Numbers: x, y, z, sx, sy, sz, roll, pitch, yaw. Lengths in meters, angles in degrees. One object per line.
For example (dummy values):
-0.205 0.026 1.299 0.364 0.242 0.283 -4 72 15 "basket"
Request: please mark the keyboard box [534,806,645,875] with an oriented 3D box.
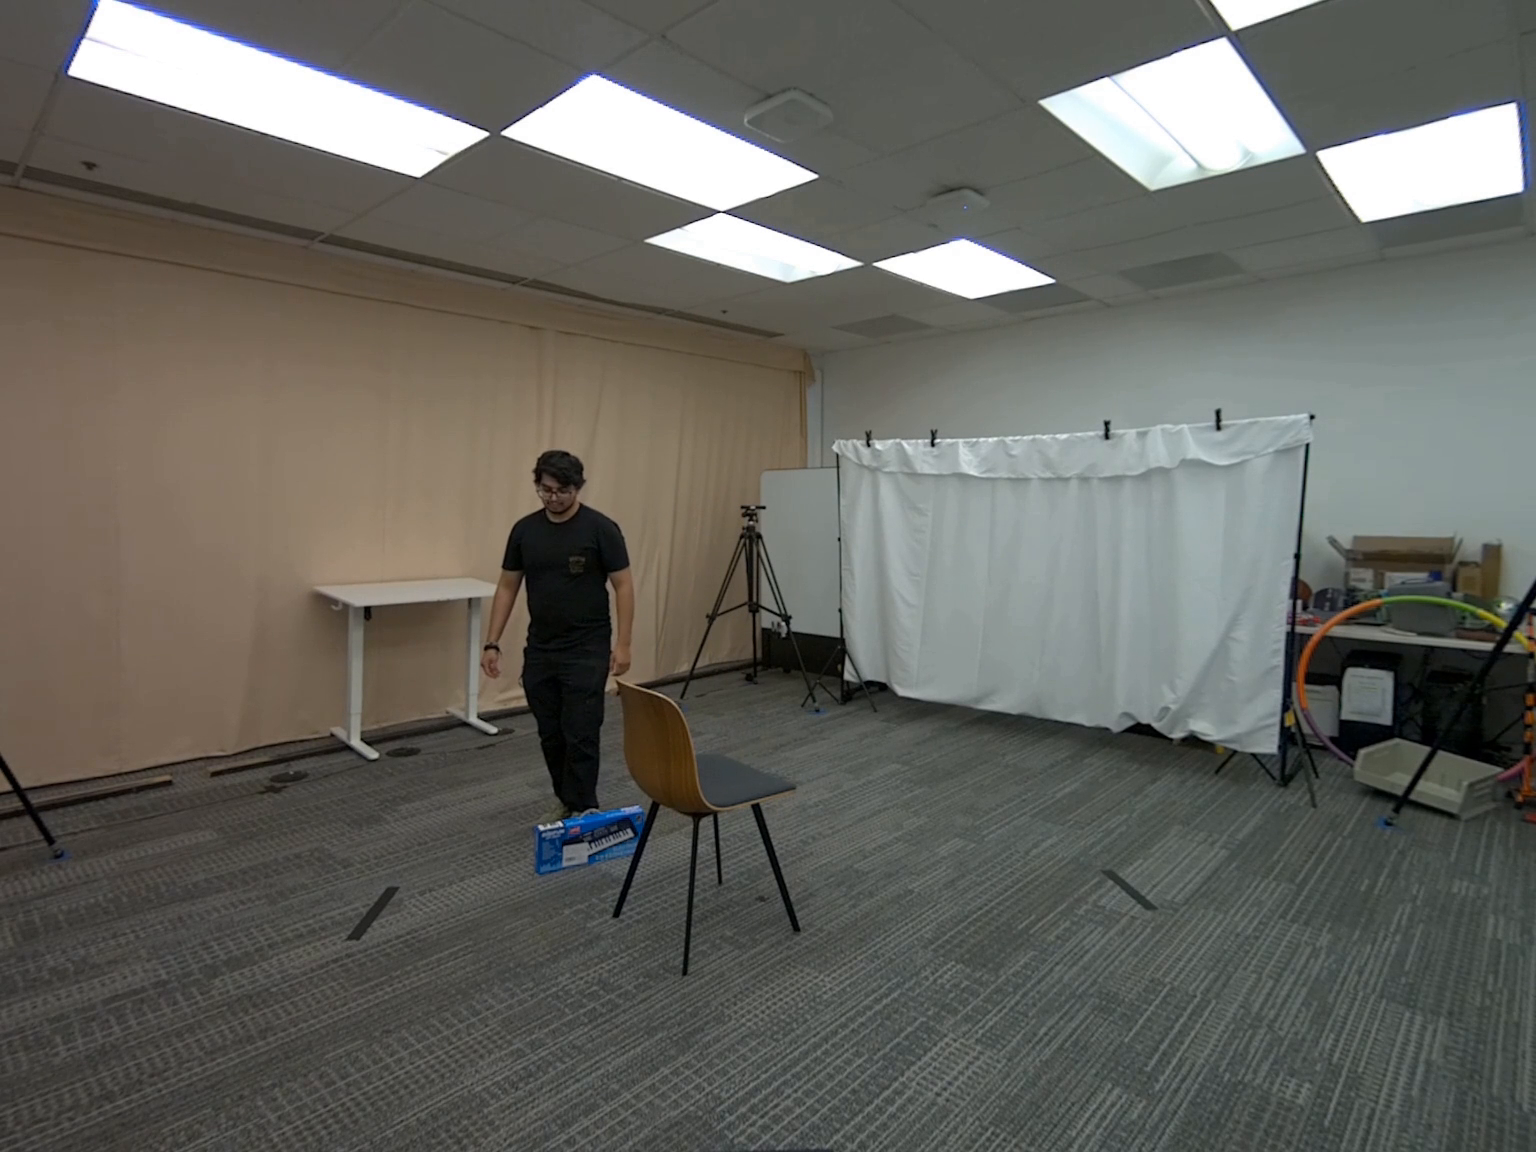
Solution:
-0.700 1.040 3.314 0.425 0.175 0.061 -3 8 -30 "keyboard box"
